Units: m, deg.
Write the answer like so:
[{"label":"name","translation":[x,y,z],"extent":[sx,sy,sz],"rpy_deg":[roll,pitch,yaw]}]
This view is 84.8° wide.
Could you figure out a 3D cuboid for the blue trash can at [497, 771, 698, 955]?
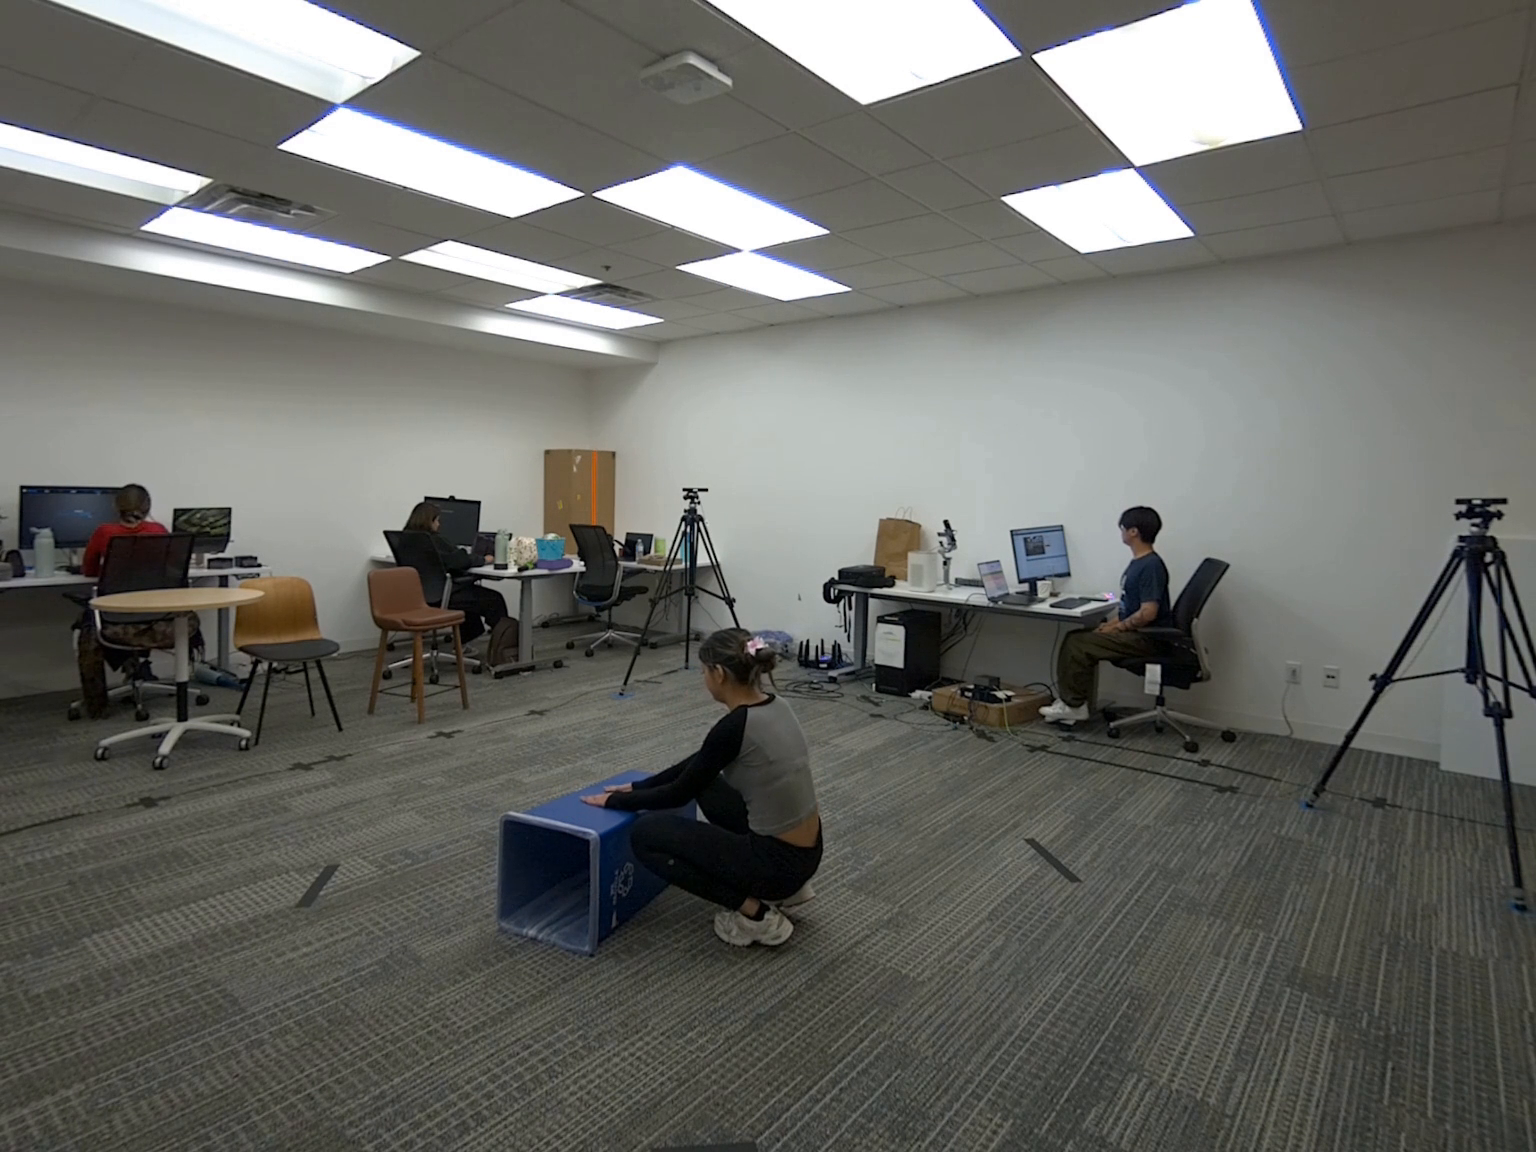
[{"label":"blue trash can","translation":[-0.546,0.917,2.900],"extent":[0.384,0.377,0.696],"rpy_deg":[2,3,25]}]
